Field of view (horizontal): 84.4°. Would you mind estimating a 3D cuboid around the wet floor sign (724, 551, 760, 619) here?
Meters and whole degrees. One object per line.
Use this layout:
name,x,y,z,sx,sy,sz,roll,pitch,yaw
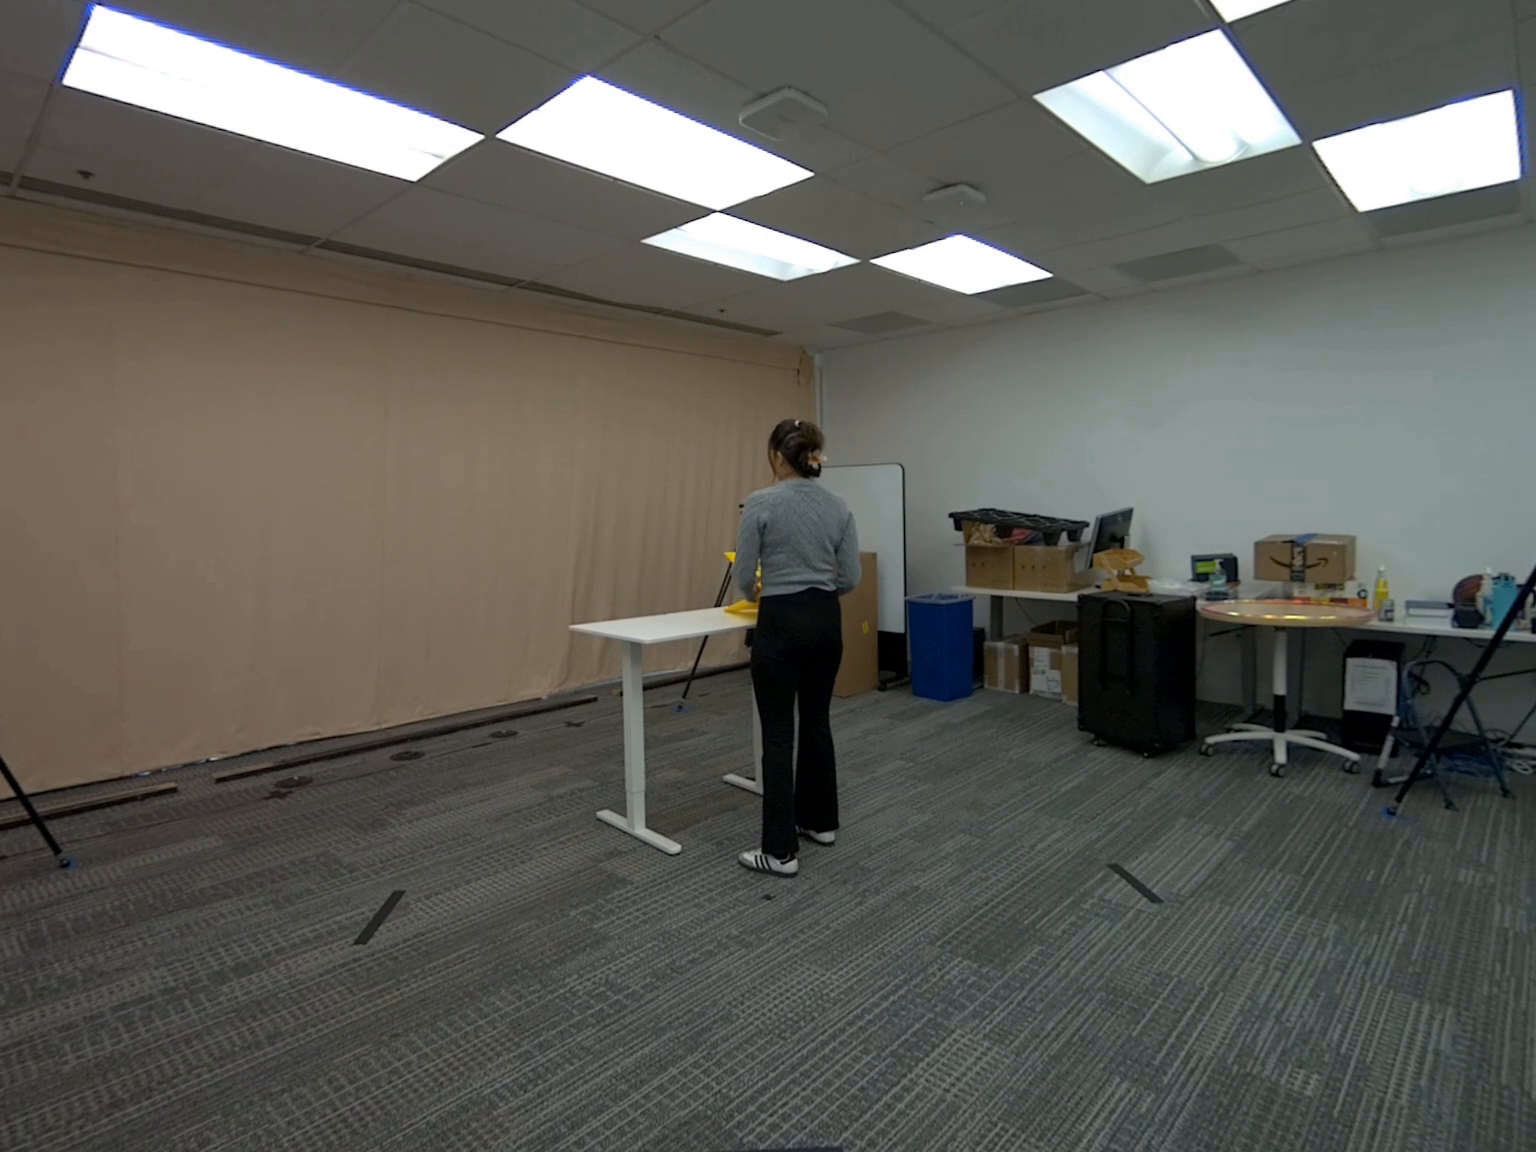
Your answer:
wet floor sign,0.001,0.046,3.789,0.278,0.289,0.657,-1,3,-16
